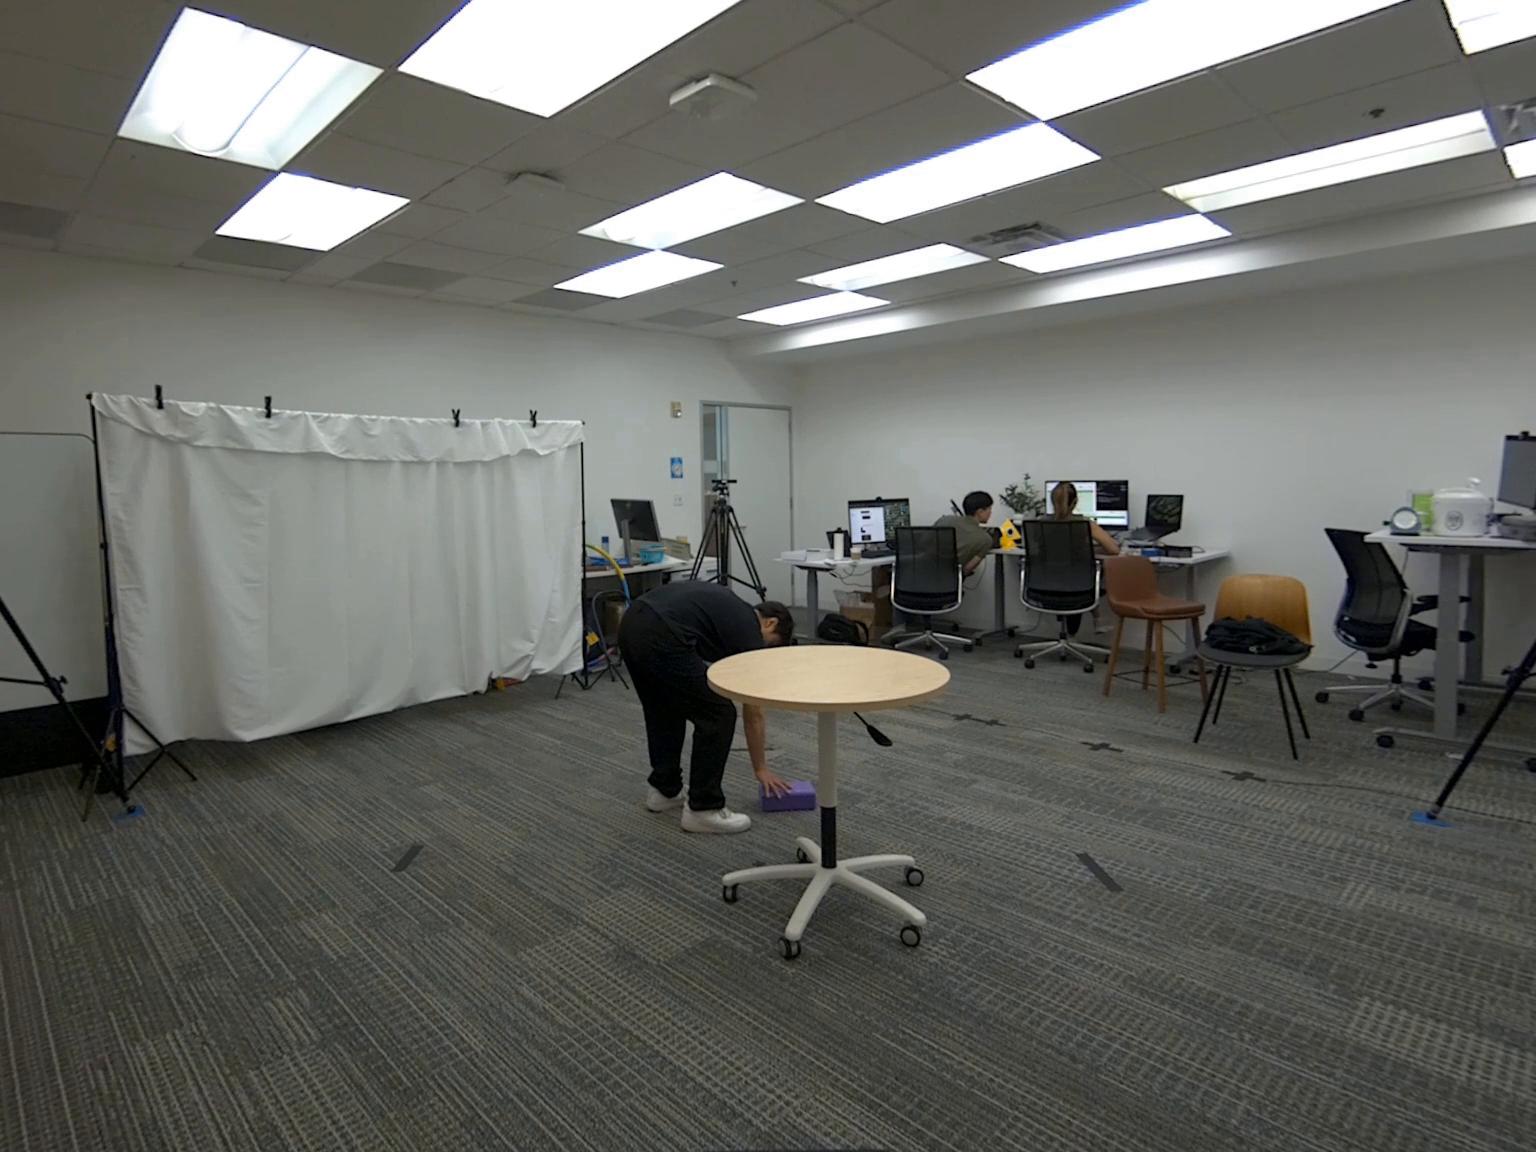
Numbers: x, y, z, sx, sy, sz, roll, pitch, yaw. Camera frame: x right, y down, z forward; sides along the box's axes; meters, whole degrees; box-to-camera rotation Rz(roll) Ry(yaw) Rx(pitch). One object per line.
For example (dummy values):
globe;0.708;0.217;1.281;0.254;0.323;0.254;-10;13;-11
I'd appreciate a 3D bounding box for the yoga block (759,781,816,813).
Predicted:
yoga block;0.079;0.939;3.663;0.228;0.076;0.151;-1;8;-6
